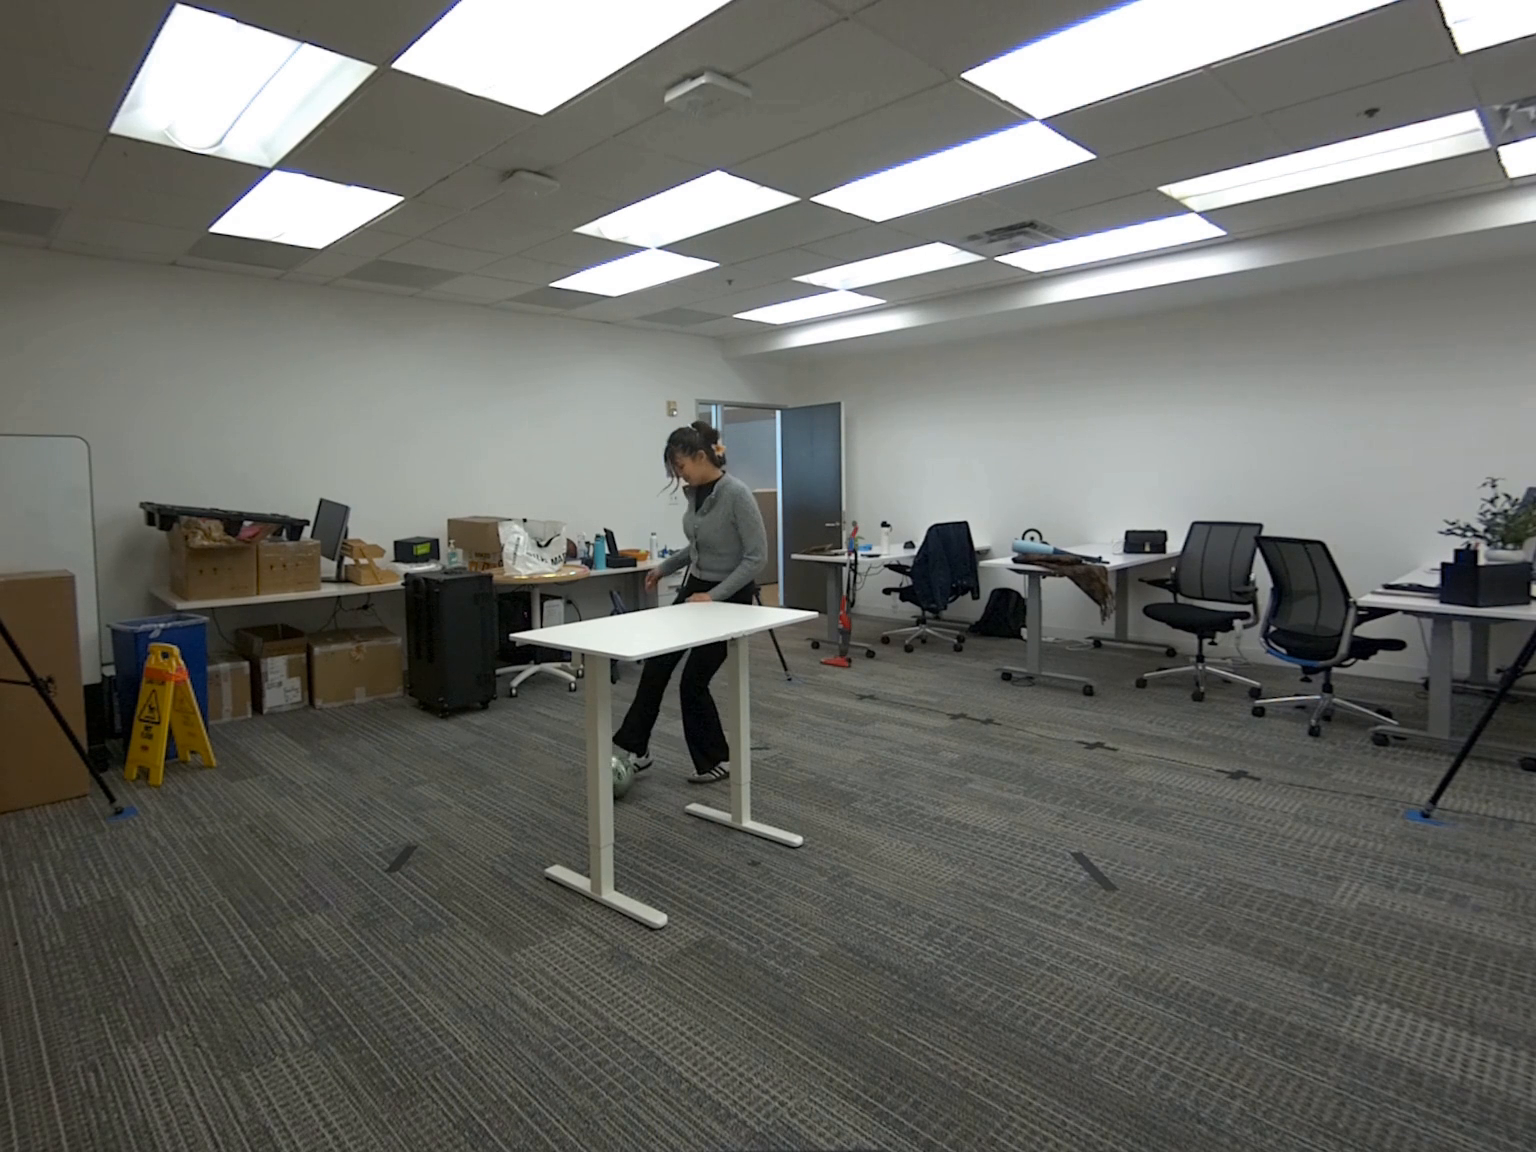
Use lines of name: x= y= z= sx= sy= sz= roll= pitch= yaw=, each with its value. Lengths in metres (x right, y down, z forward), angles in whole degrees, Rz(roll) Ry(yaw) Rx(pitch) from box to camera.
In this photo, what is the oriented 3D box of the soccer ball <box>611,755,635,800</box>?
soccer ball: x=-0.675 y=0.894 z=3.761 sx=0.187 sy=0.187 sz=0.188 roll=-1 pitch=5 yaw=-2
